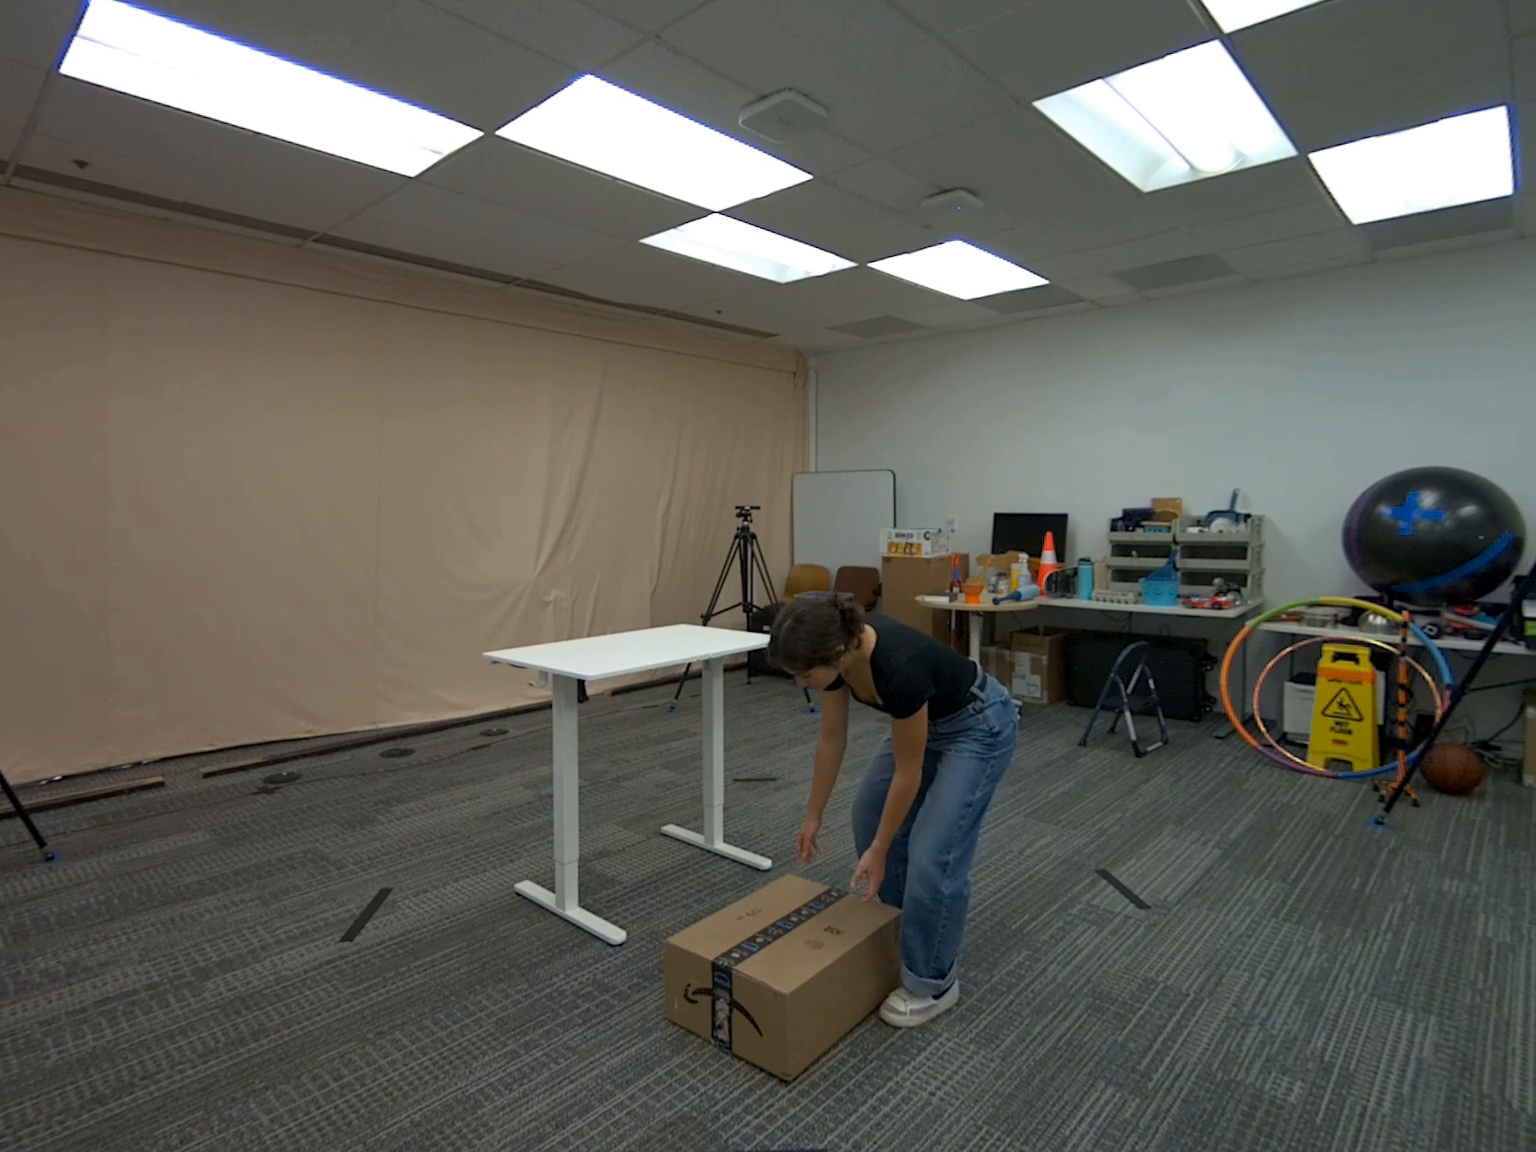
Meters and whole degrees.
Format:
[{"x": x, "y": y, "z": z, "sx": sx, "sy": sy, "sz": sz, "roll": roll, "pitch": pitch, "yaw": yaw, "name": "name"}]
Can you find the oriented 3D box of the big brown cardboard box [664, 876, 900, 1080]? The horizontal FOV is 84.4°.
[{"x": 0.059, "y": 1.086, "z": 2.352, "sx": 0.431, "sy": 0.232, "sz": 0.571, "roll": 2, "pitch": 5, "yaw": 40, "name": "big brown cardboard box"}]
